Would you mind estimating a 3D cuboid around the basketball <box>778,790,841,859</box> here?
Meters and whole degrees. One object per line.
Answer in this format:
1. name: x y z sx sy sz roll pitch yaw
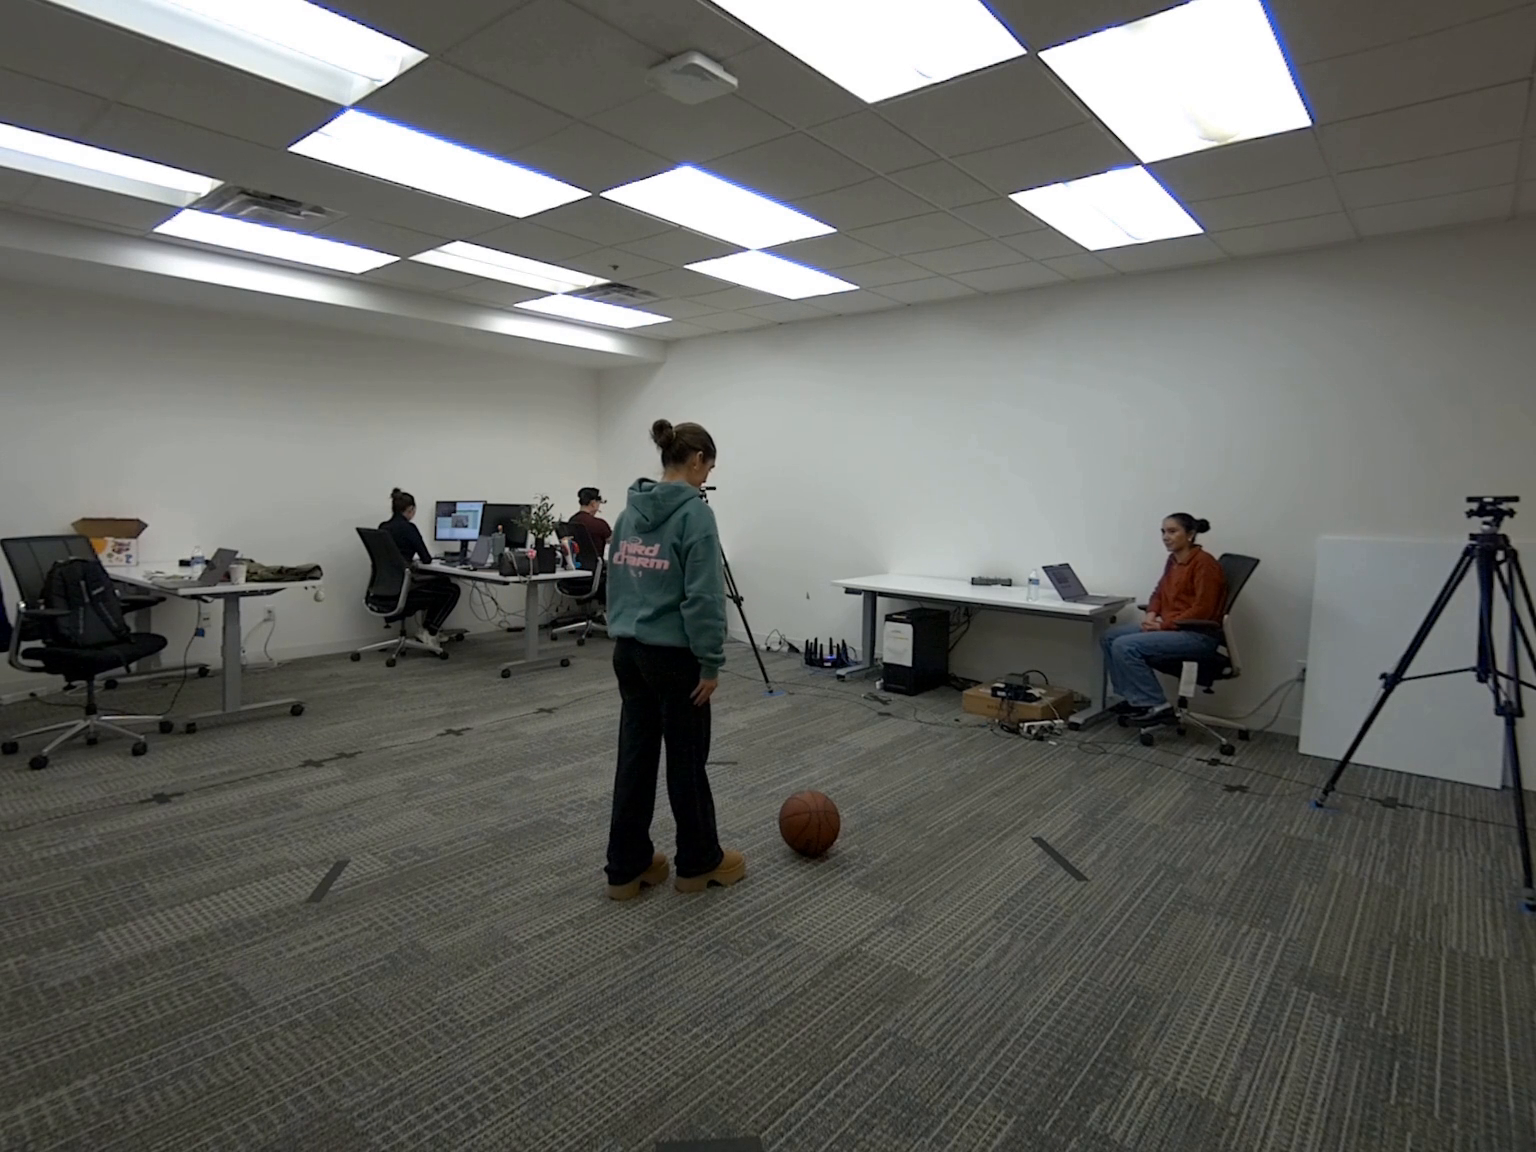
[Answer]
1. basketball: 0.146 0.935 3.261 0.236 0.235 0.237 1 4 -2
